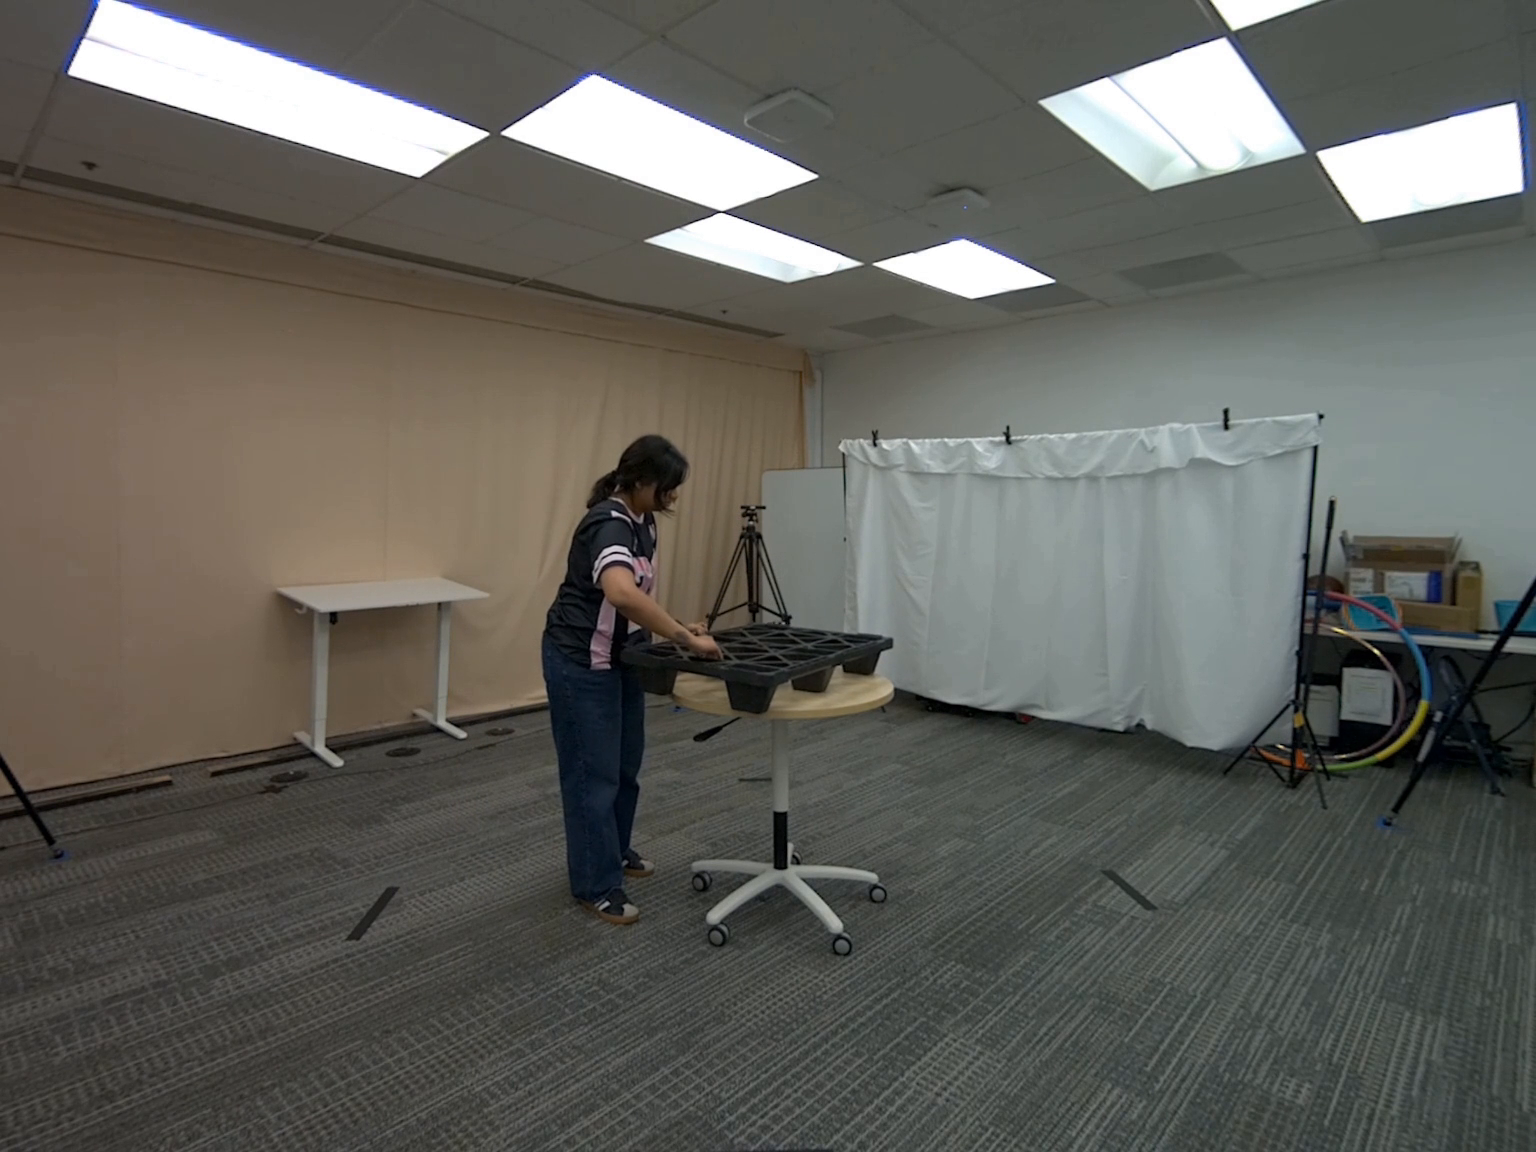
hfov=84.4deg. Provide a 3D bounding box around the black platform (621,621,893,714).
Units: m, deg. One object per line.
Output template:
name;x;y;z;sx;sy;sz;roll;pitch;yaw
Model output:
black platform;-0.017;0.297;2.875;0.625;0.143;0.782;4;6;36
